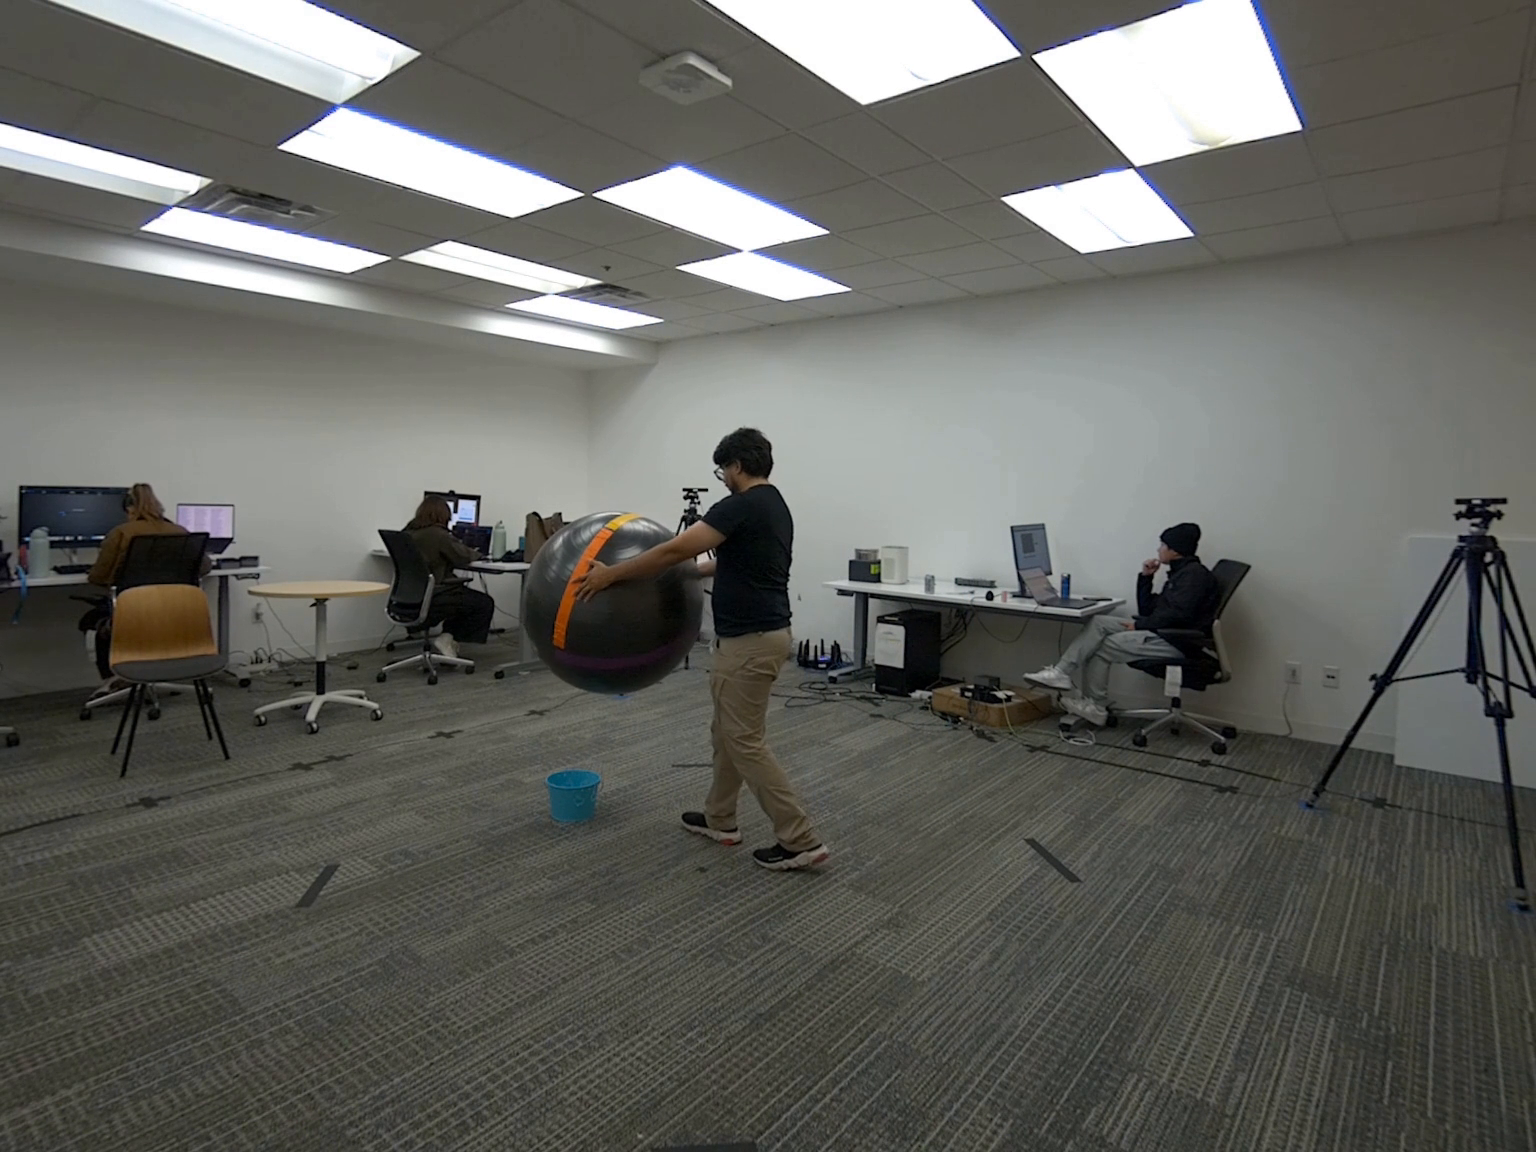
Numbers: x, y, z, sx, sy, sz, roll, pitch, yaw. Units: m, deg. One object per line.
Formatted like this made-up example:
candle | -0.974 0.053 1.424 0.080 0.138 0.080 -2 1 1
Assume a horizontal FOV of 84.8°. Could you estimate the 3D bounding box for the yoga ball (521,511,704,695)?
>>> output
yoga ball | -0.654 0.113 3.559 0.757 0.755 0.762 1 4 -2
